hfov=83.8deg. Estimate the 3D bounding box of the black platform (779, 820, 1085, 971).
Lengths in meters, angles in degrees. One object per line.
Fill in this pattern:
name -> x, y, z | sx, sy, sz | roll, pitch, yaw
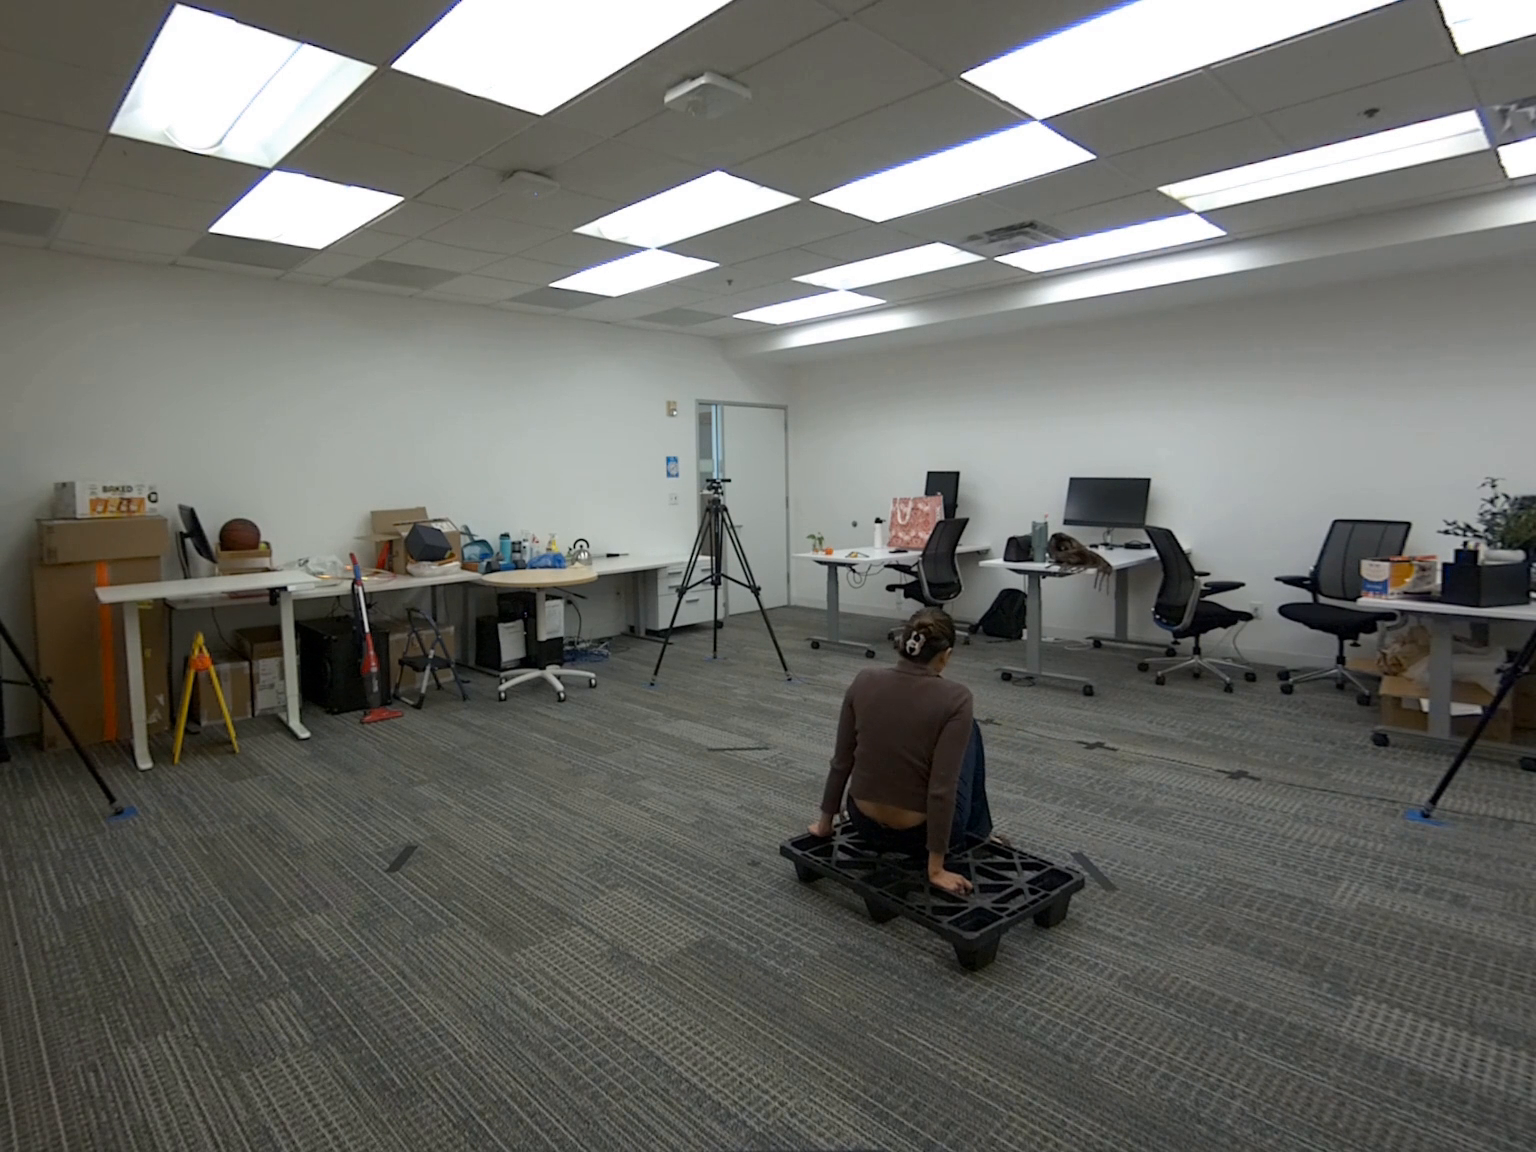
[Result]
black platform -> 0.518, 1.004, 2.816 | 0.590, 0.143, 0.830 | -6, 8, -38
